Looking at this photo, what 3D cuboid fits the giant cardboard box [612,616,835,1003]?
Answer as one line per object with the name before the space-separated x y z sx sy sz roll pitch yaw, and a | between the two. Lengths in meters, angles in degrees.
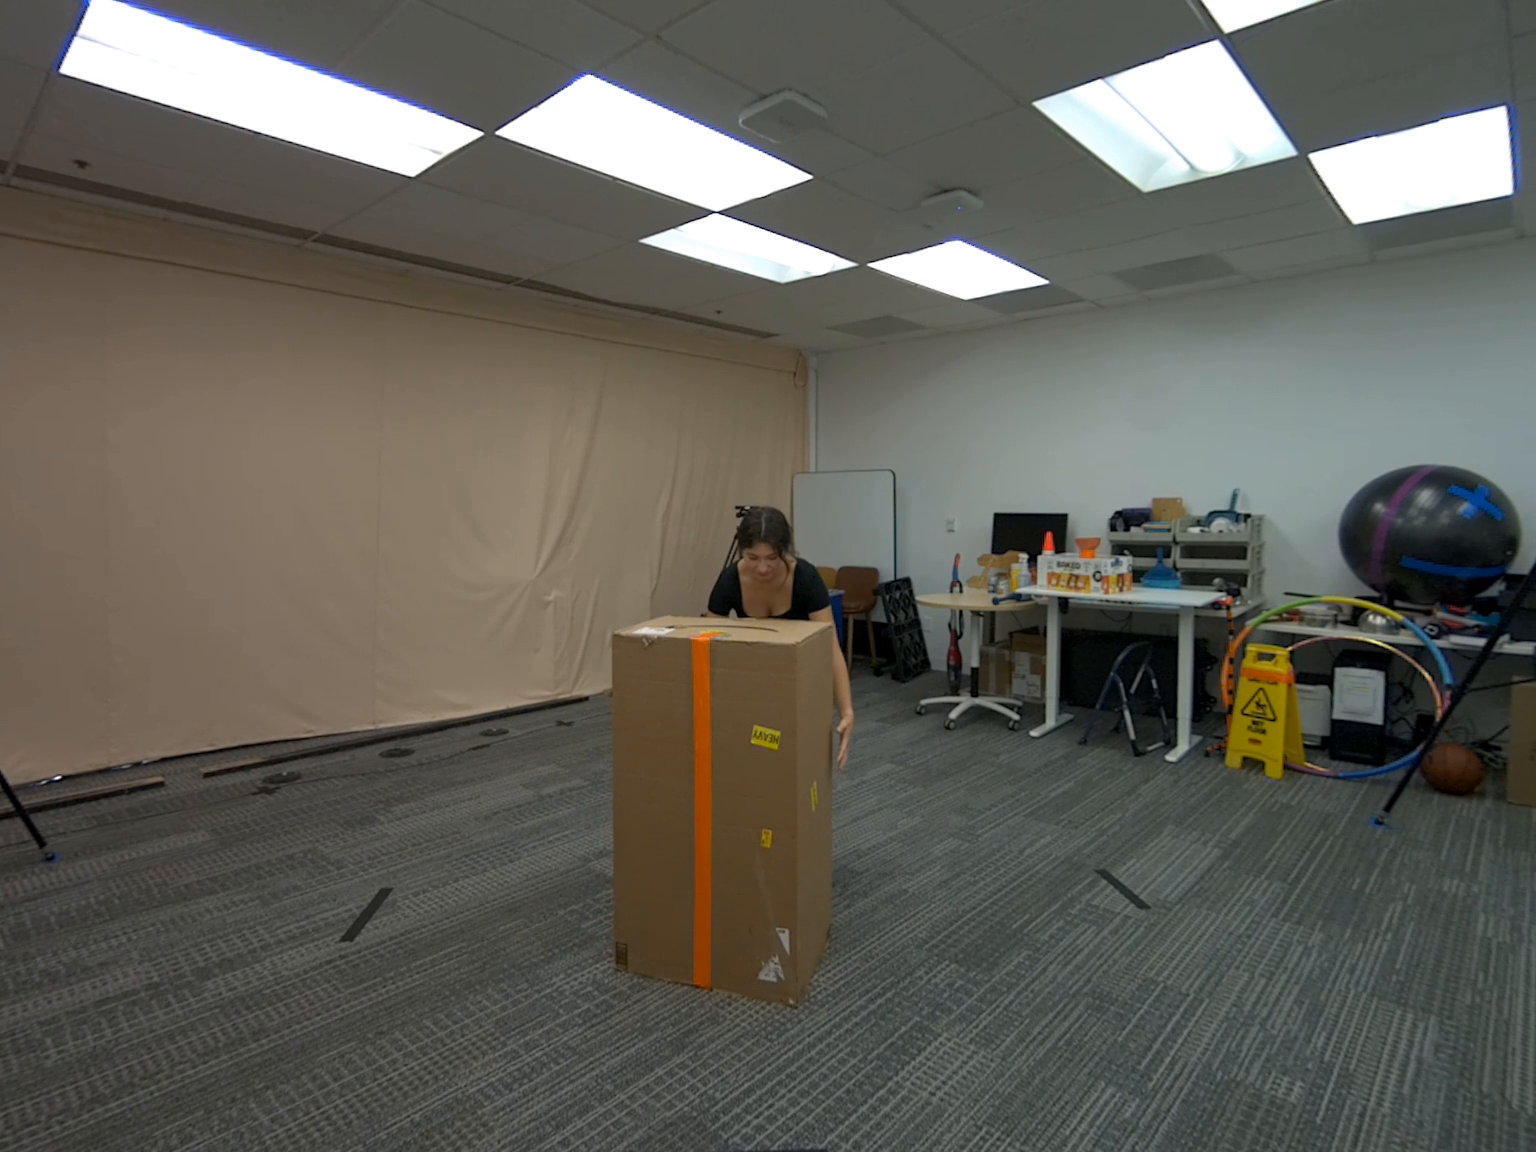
giant cardboard box | -0.132 0.666 2.601 0.590 1.024 0.418 1 3 20
